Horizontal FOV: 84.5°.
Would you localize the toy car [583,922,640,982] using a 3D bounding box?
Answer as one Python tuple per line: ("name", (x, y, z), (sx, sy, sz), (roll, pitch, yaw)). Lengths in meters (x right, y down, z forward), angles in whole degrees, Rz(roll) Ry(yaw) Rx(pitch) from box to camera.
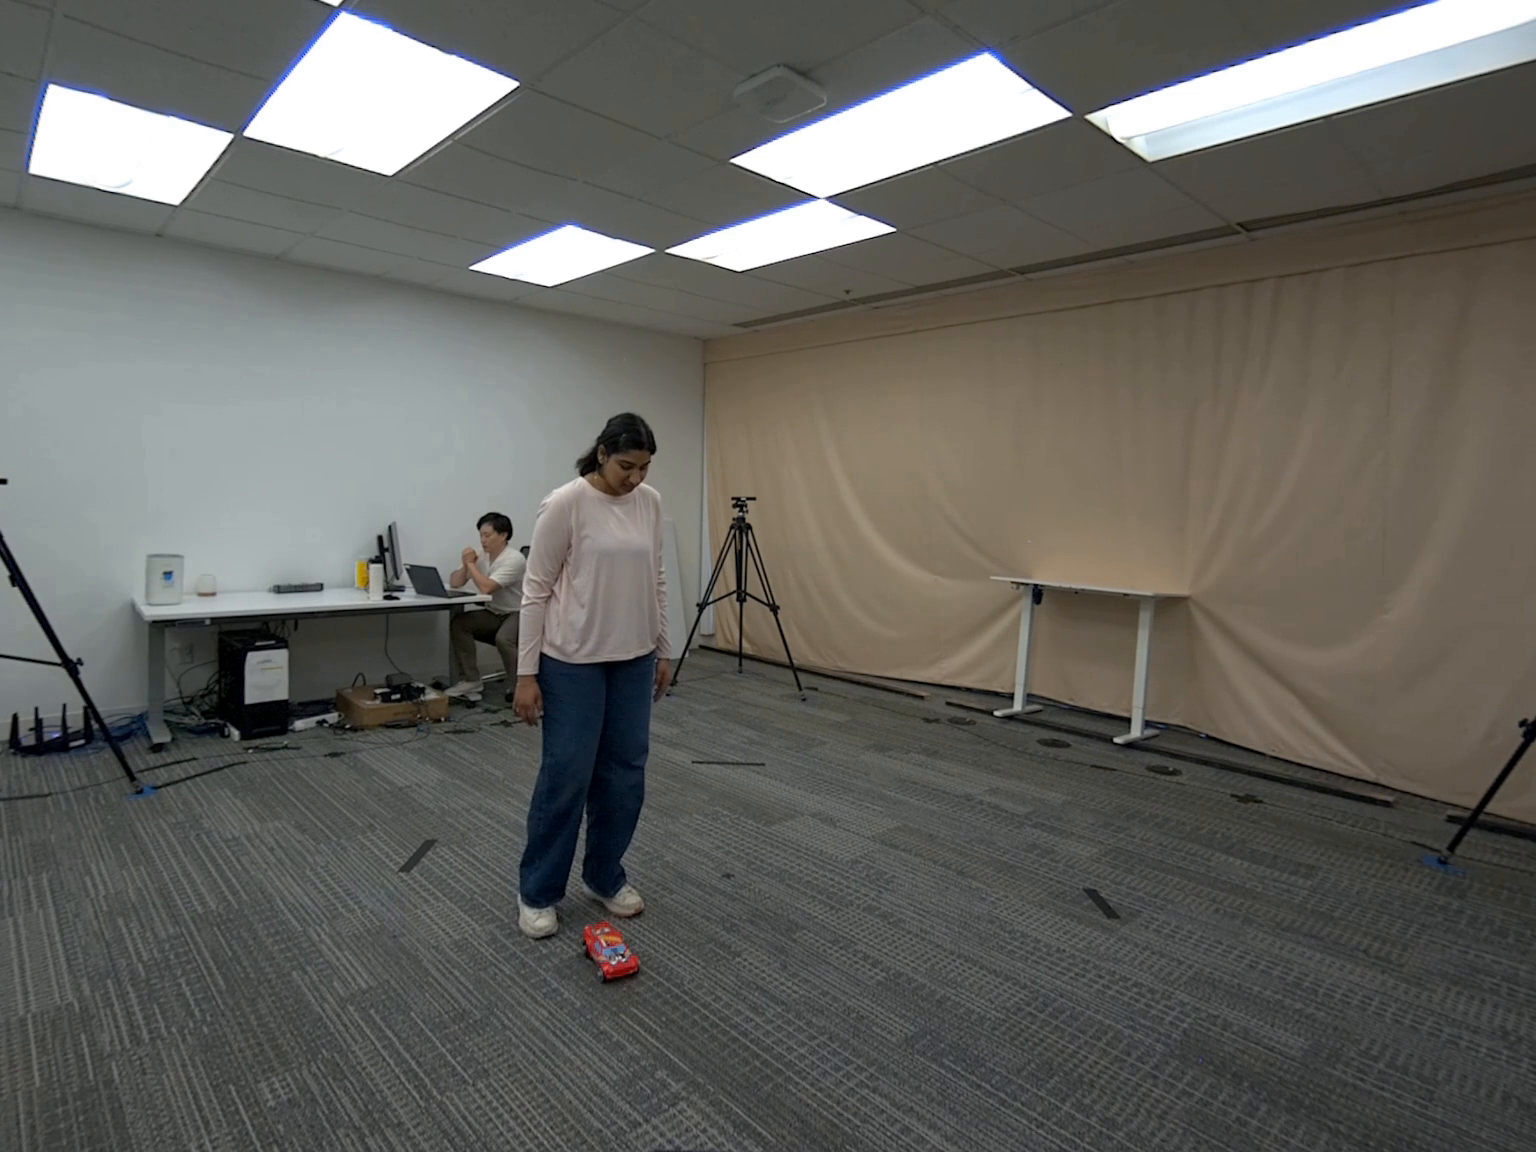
("toy car", (-0.483, 1.125, 2.506), (0.128, 0.082, 0.262), (-2, 16, -28))
